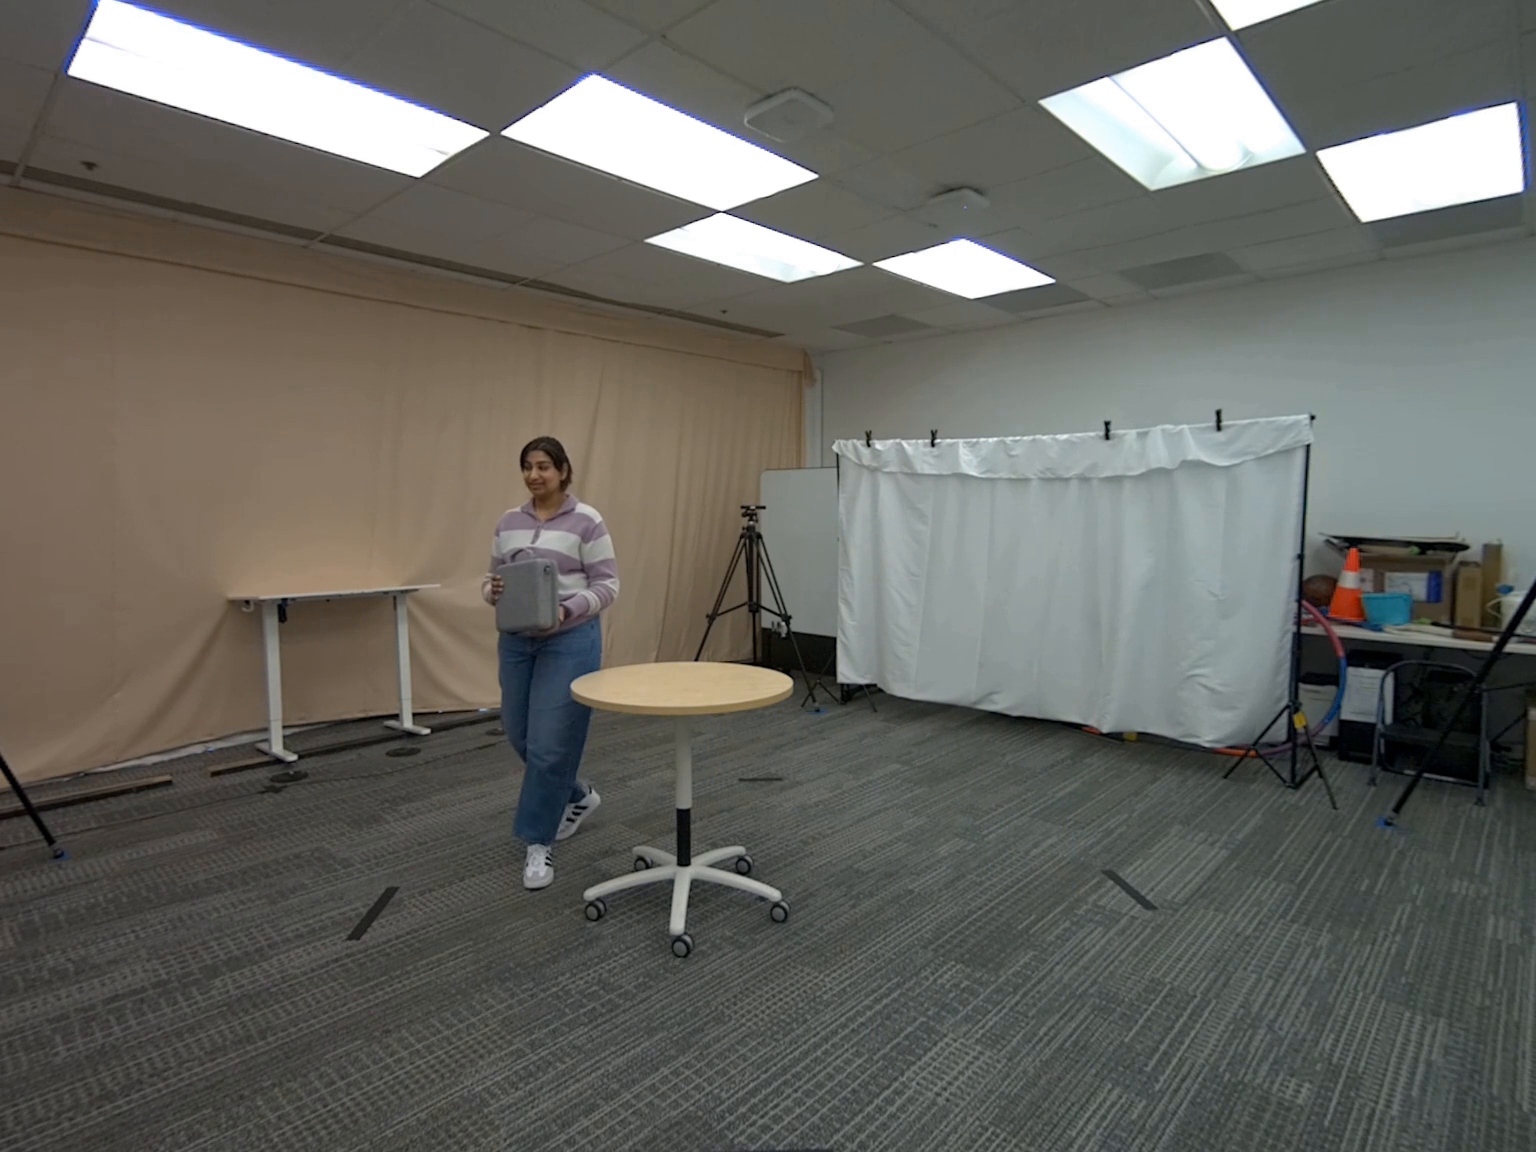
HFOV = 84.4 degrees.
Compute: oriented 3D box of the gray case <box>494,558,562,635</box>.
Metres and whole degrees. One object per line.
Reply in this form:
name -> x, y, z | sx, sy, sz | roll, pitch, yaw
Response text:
gray case -> -0.856, 0.069, 3.031 | 0.264, 0.262, 0.101 | -10, -9, 38
